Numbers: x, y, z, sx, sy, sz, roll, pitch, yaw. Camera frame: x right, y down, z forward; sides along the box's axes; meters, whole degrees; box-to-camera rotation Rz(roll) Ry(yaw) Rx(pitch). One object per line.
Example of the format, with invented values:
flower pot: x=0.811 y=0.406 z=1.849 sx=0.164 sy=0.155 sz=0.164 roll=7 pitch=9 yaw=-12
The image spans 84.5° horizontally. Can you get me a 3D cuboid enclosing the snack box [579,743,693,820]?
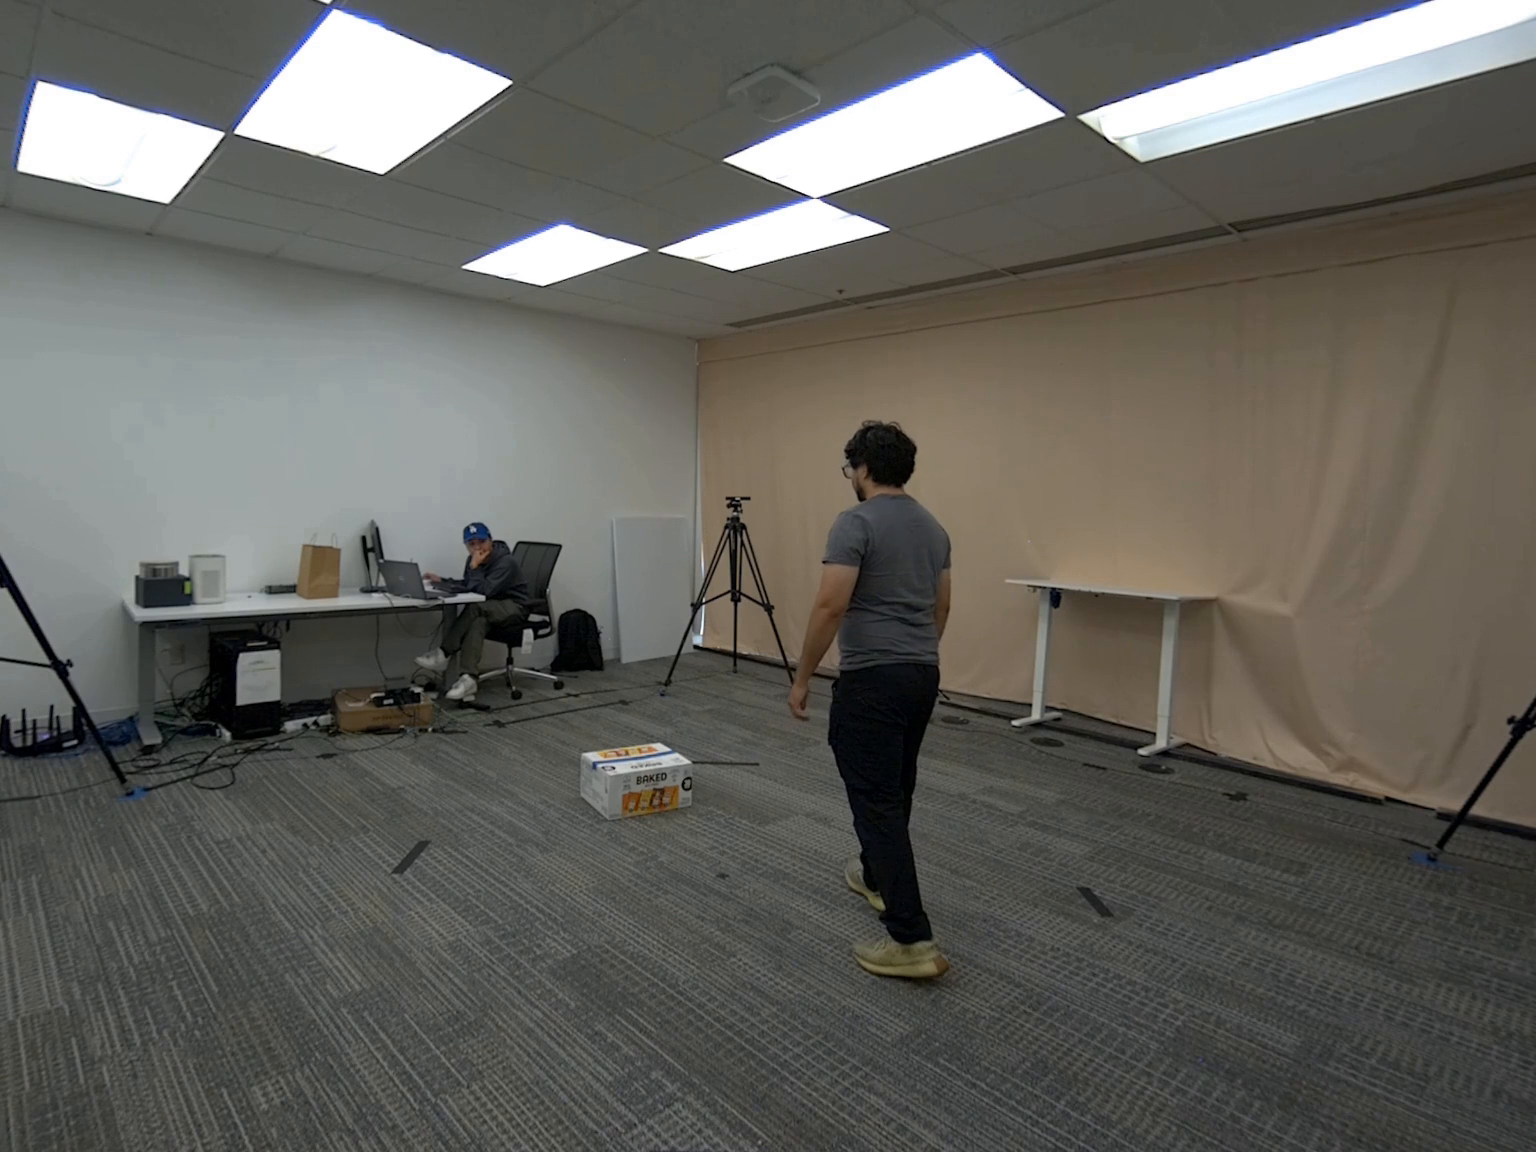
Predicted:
snack box: x=-0.614 y=0.930 z=3.841 sx=0.397 sy=0.205 sz=0.348 roll=-1 pitch=5 yaw=-32
